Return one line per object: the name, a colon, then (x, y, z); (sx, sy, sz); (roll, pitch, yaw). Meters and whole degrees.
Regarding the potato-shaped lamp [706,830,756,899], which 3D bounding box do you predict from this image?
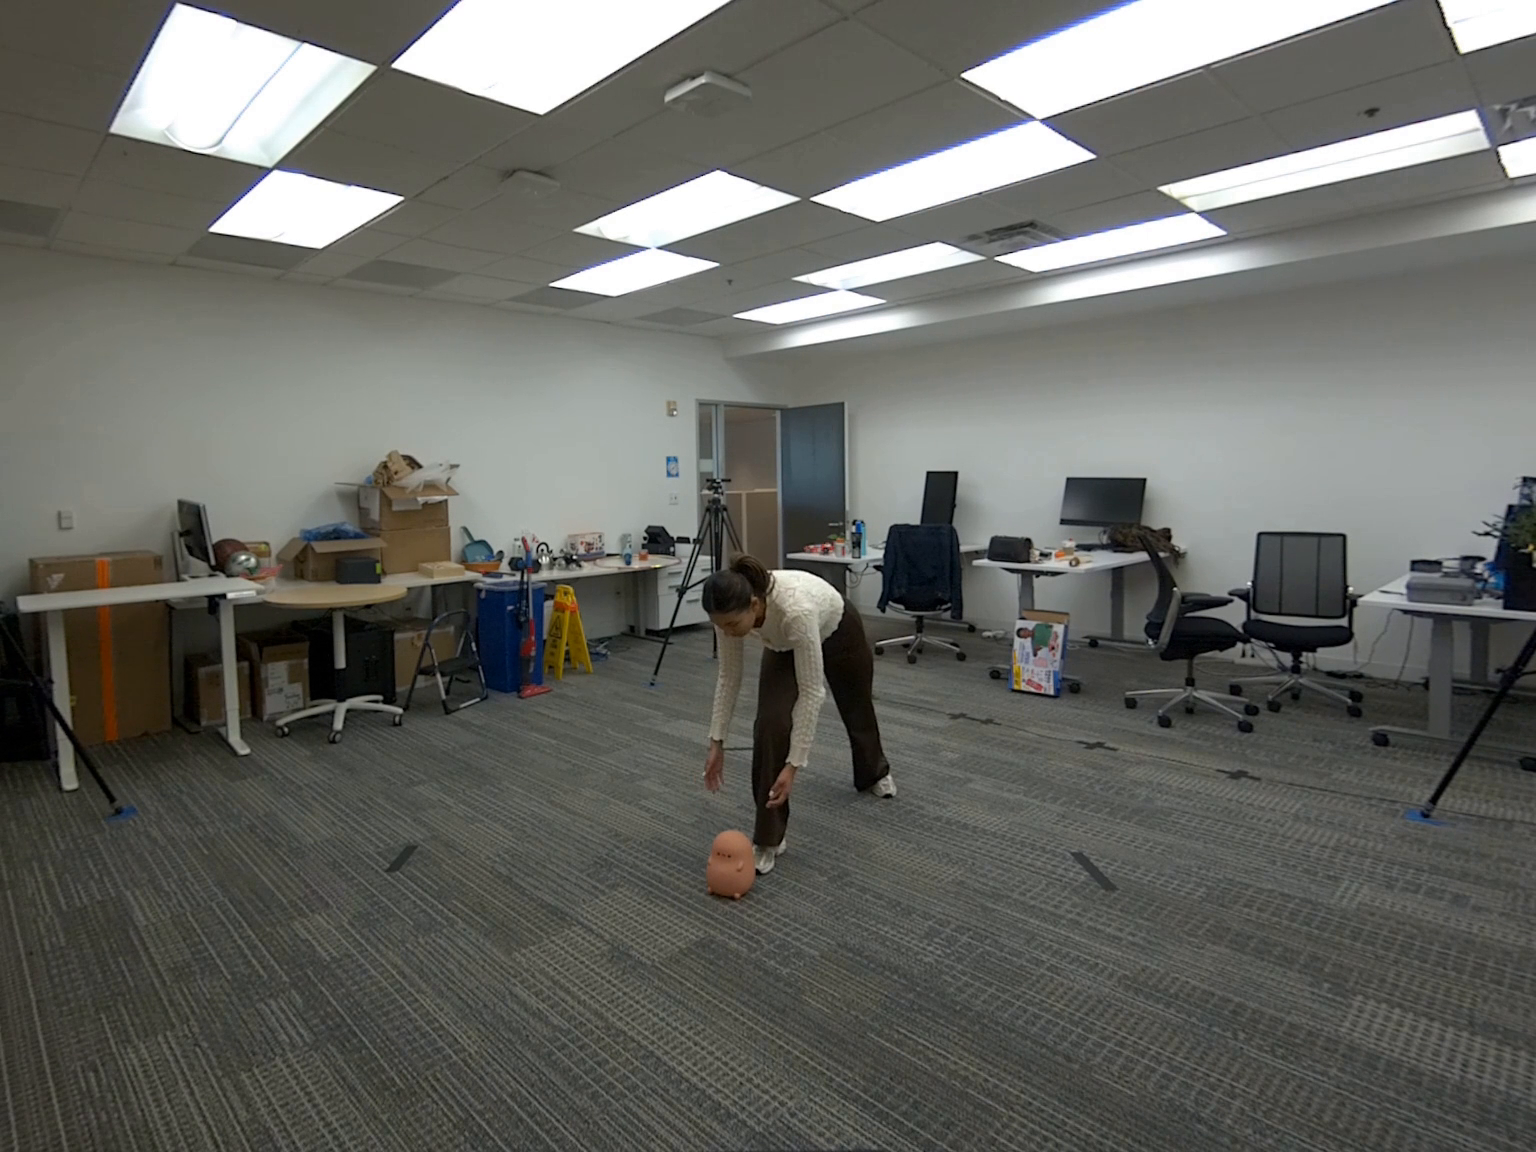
potato-shaped lamp: (-0.119, 0.969, 2.907); (0.169, 0.198, 0.167); (0, 1, 29)
